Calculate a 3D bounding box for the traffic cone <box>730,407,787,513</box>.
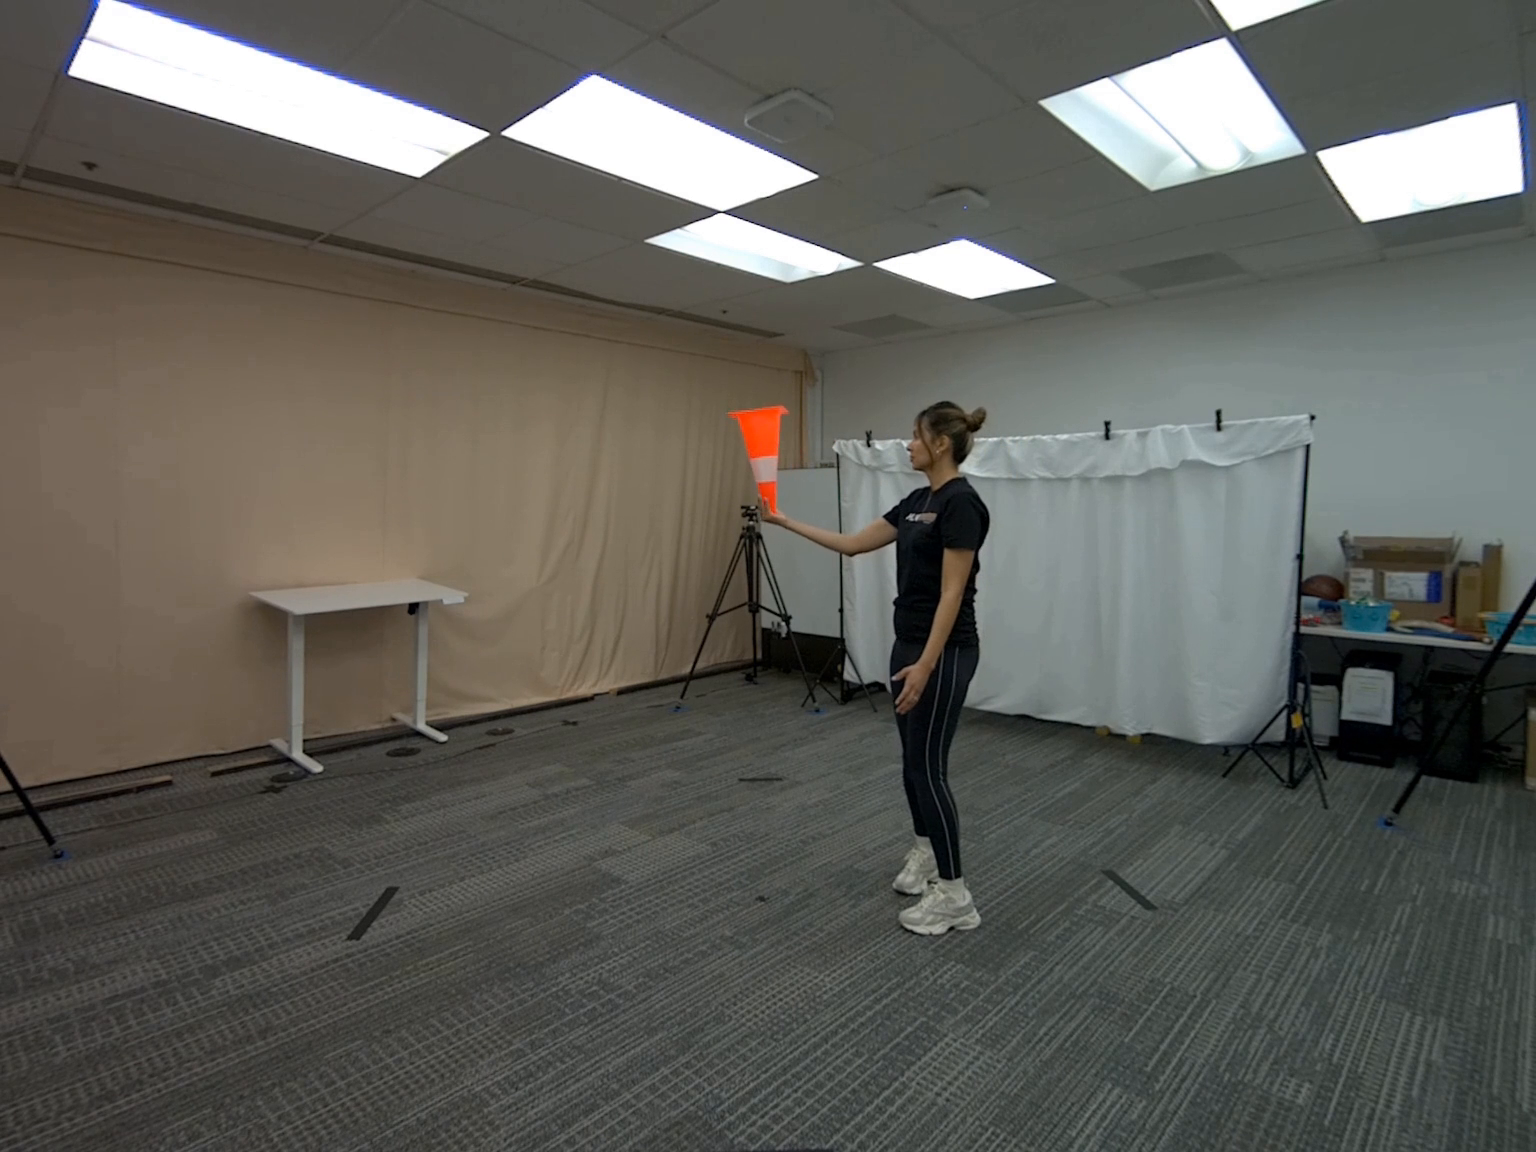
[{"bbox_3d":[-0.008,-0.410,3.093,0.207,0.383,0.202,-4,2,8],"label":"traffic cone"}]
